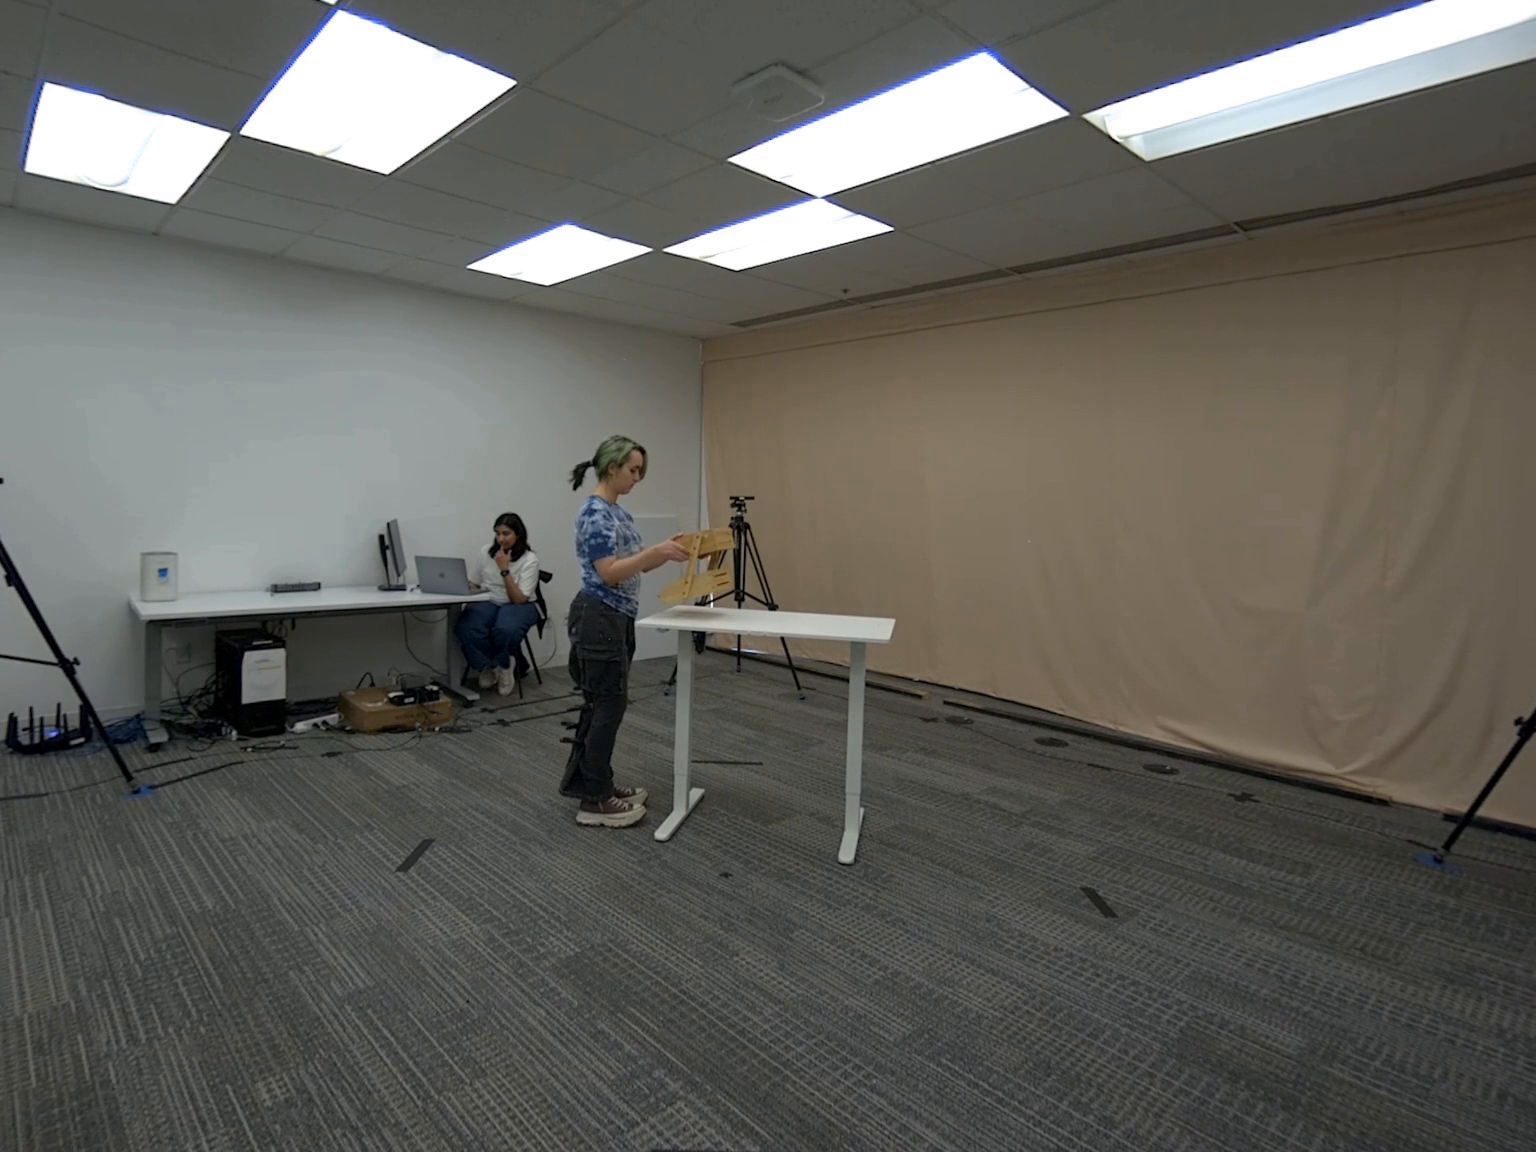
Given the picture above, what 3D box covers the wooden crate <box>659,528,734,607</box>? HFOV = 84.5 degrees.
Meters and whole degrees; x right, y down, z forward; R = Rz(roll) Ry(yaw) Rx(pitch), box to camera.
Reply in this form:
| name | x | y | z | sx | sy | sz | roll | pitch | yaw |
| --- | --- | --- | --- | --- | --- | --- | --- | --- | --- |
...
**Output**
| name | x | y | z | sx | sy | sz | roll | pitch | yaw |
| --- | --- | --- | --- | --- | --- | --- | --- | --- | --- |
| wooden crate | -0.344 | -0.046 | 3.628 | 0.304 | 0.273 | 0.322 | -13 | 0 | 9 |
